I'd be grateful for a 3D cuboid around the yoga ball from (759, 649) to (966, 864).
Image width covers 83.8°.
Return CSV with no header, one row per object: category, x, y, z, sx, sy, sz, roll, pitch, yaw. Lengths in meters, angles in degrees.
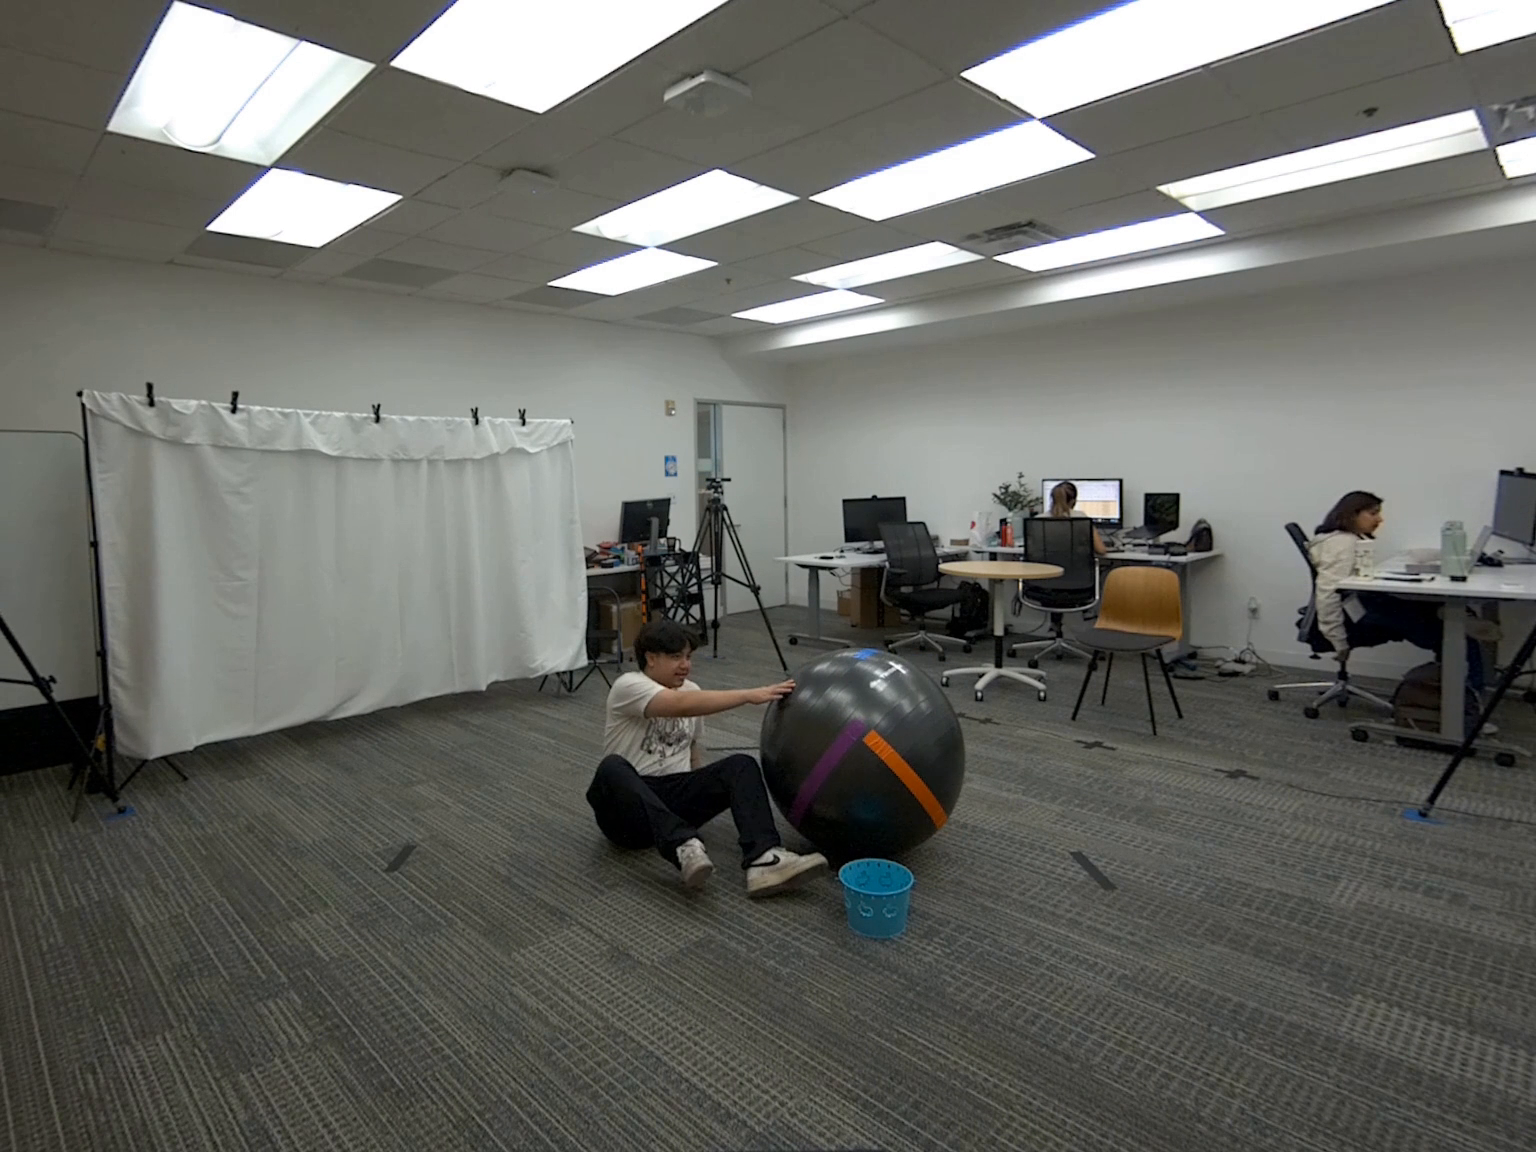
yoga ball,0.358,0.657,3.193,0.757,0.755,0.762,-1,5,-2
